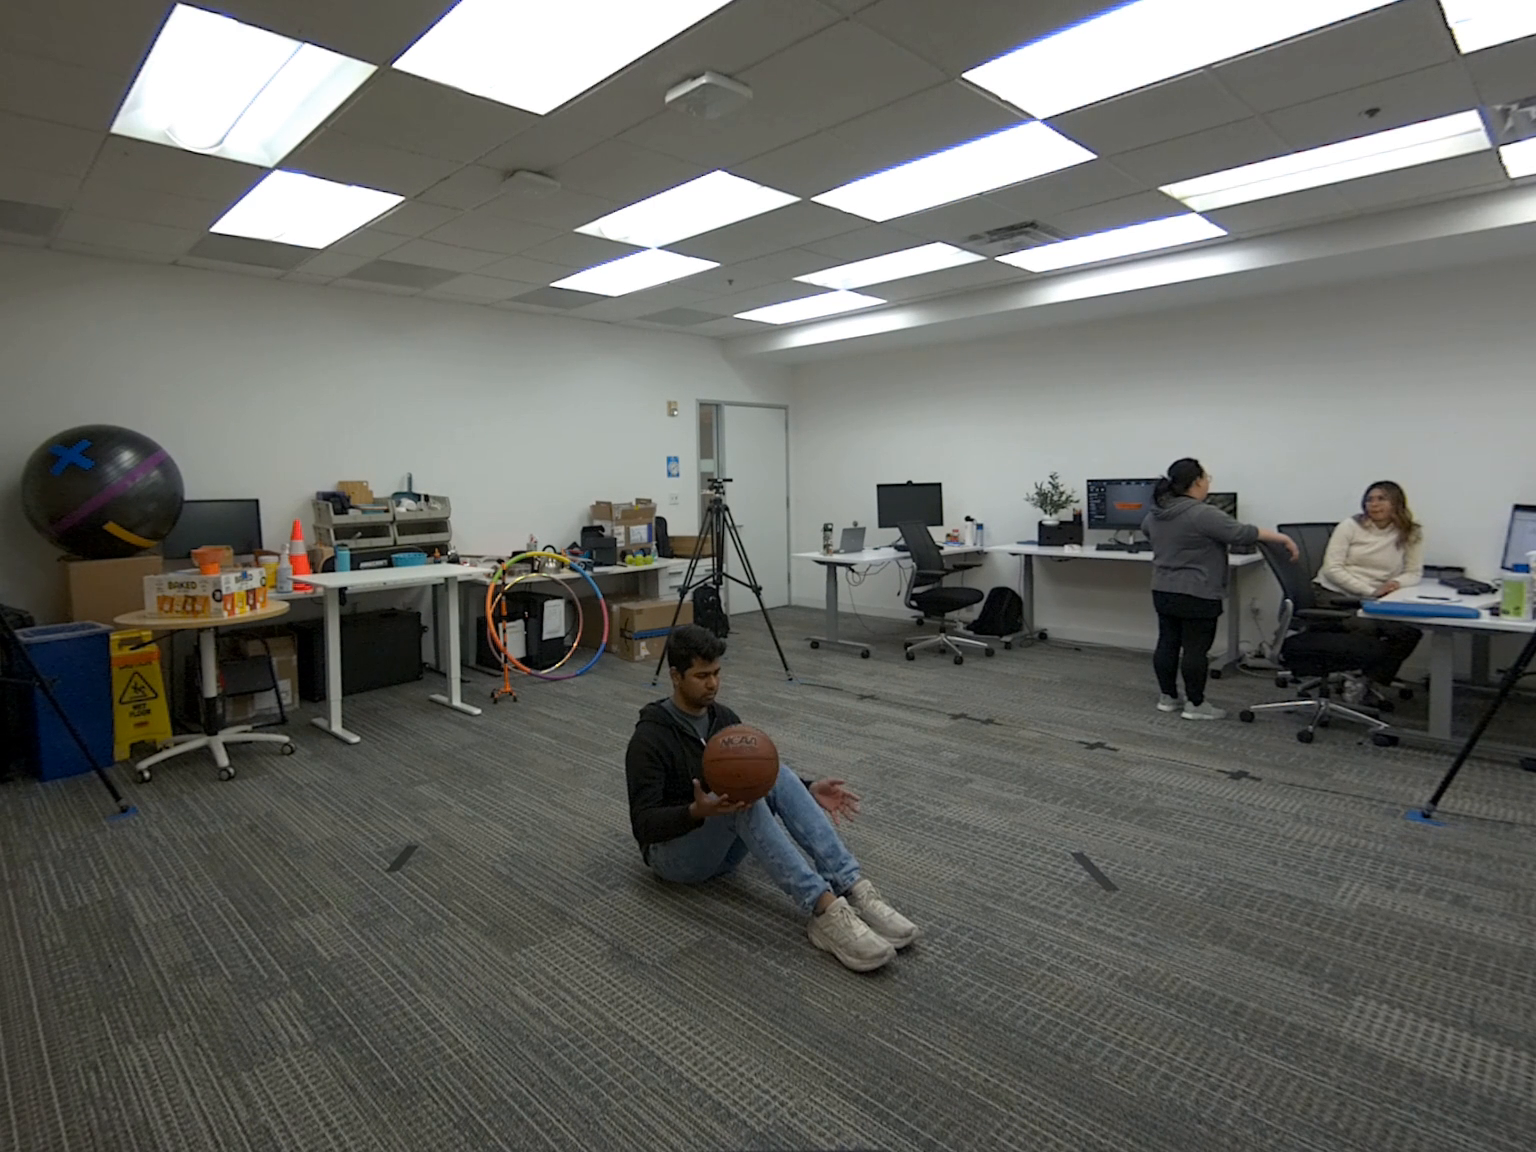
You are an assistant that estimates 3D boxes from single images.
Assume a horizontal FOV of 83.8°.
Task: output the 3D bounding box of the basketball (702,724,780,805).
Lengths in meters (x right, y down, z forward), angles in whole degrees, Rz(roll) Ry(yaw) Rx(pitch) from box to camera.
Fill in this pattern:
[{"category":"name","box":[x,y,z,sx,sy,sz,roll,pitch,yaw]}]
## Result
[{"category":"basketball","box":[-0.079,0.573,2.649,0.236,0.235,0.237,-1,5,-2]}]
